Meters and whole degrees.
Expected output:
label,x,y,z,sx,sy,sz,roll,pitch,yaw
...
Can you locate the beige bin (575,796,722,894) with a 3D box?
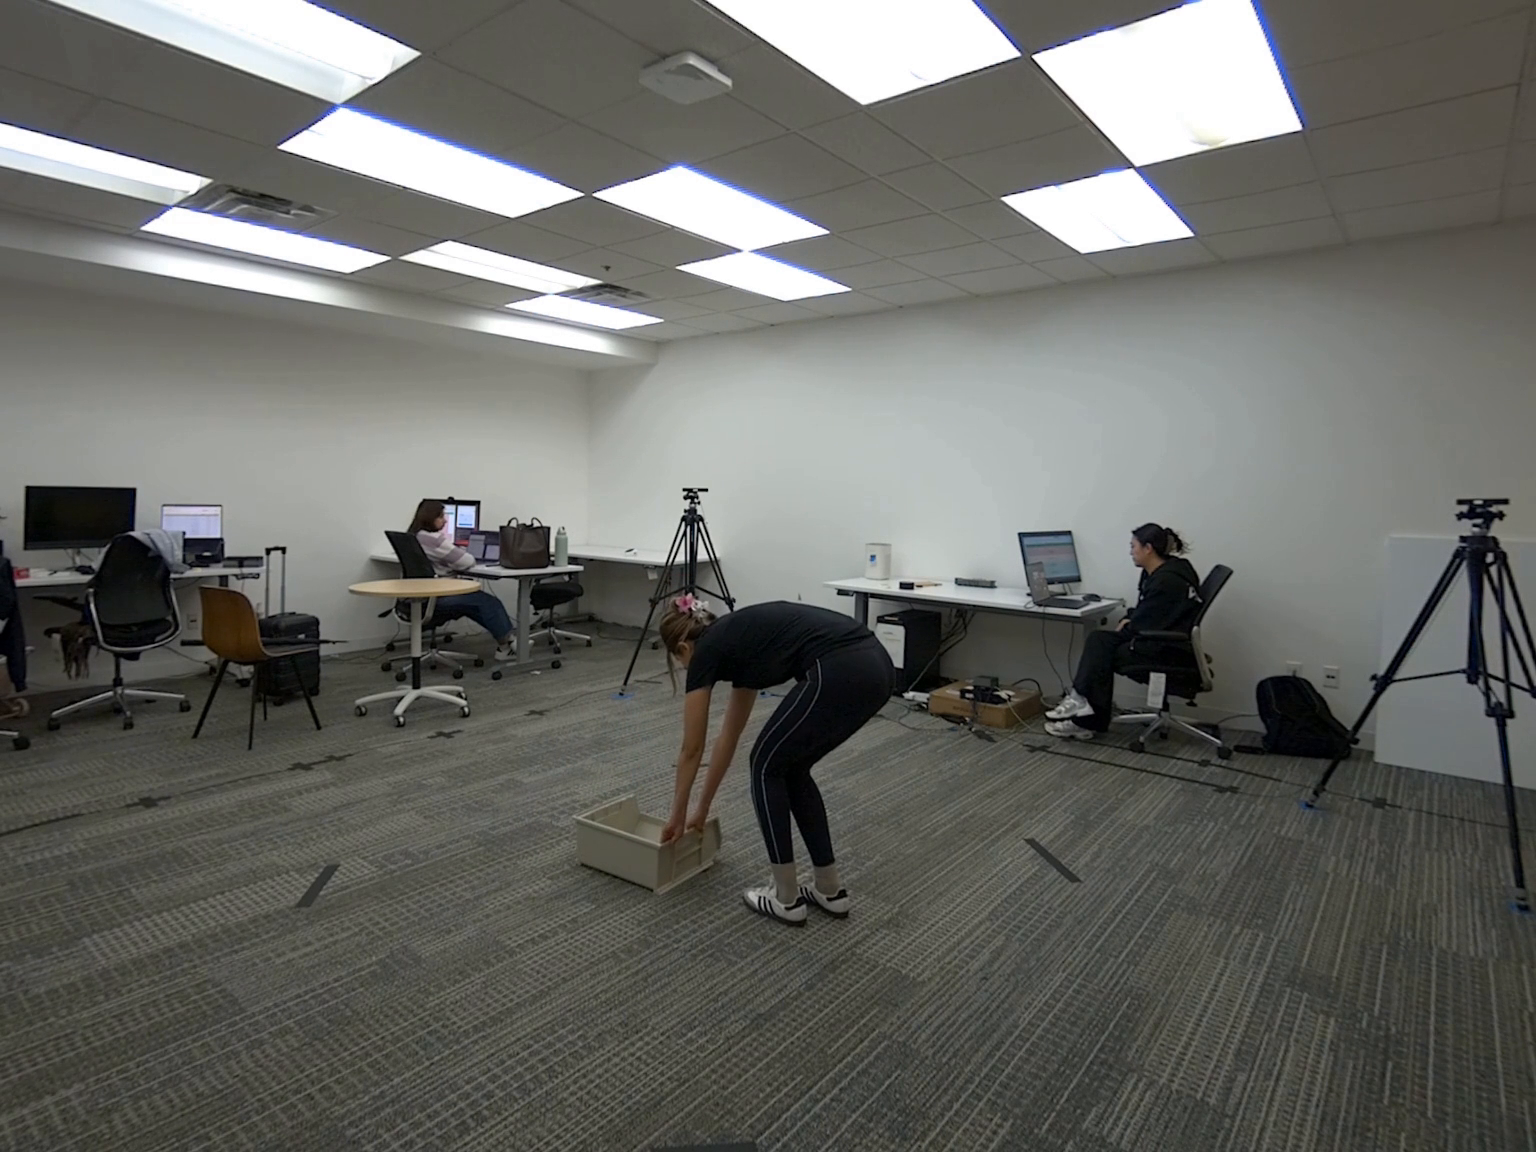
label,x,y,z,sx,sy,sz,roll,pitch,yaw
beige bin,-0.452,0.972,3.153,0.436,0.188,0.367,5,7,33
